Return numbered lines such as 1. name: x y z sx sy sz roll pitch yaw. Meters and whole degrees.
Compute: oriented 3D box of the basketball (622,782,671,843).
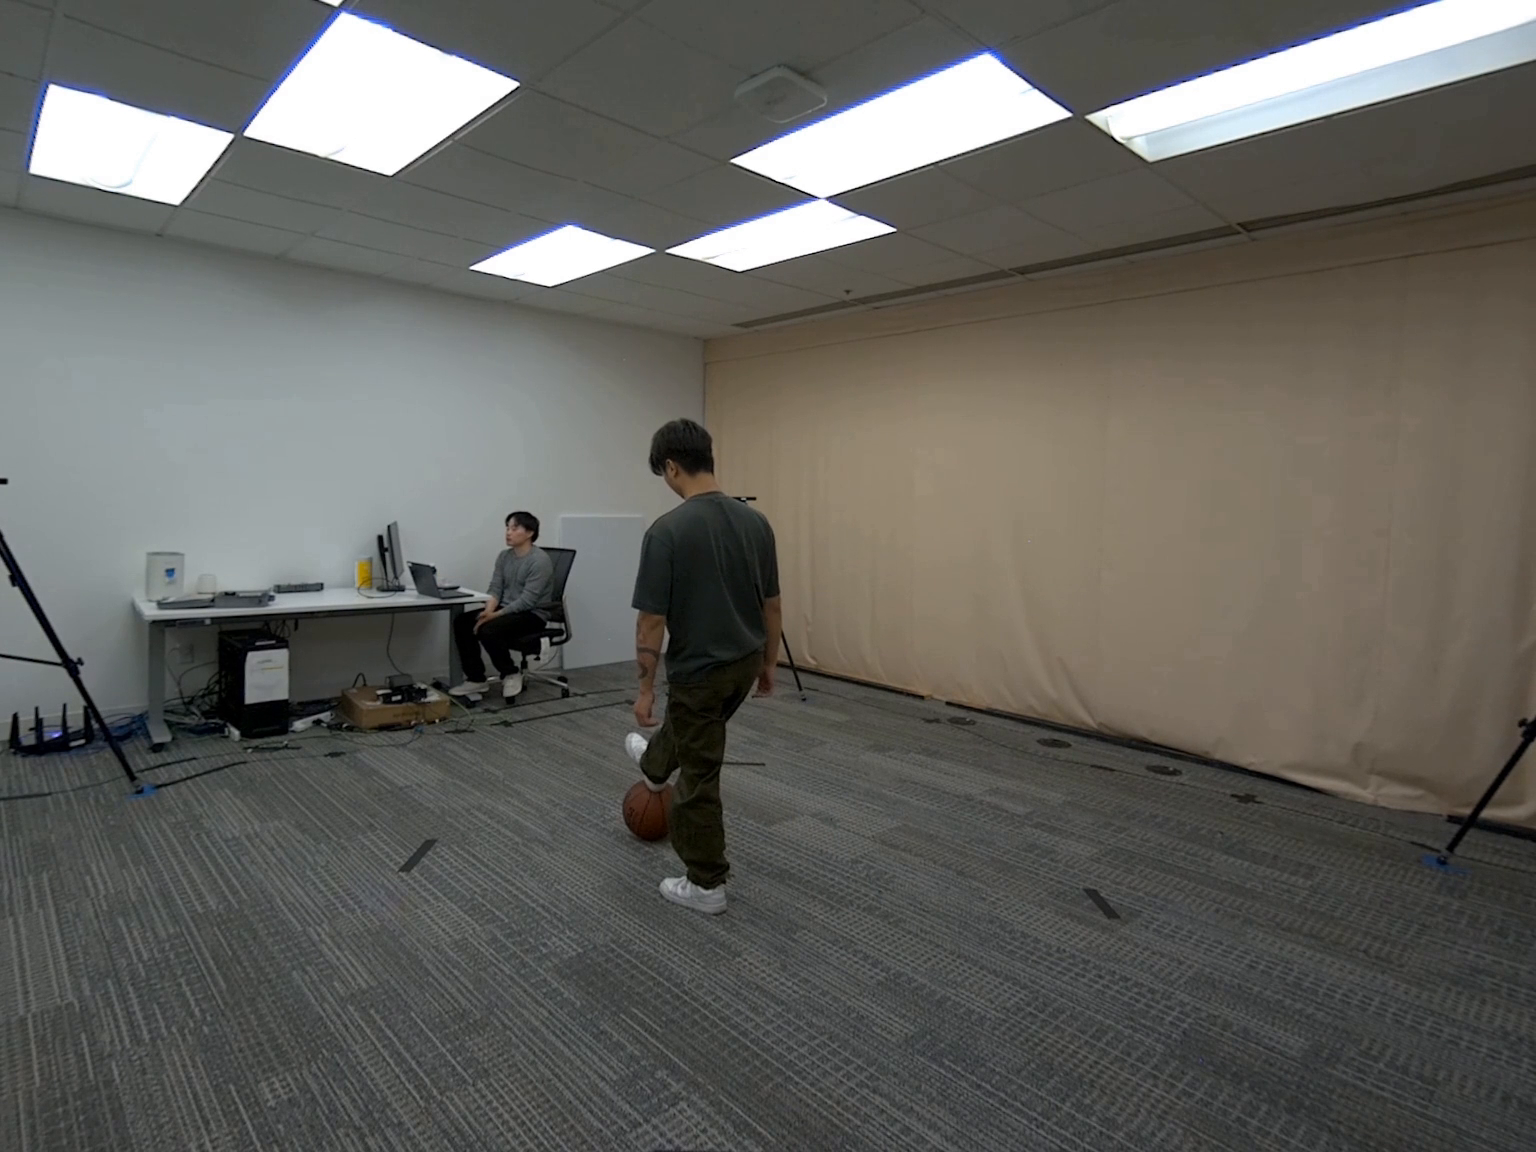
1. basketball: -0.484 0.950 3.436 0.236 0.235 0.237 1 4 -1
